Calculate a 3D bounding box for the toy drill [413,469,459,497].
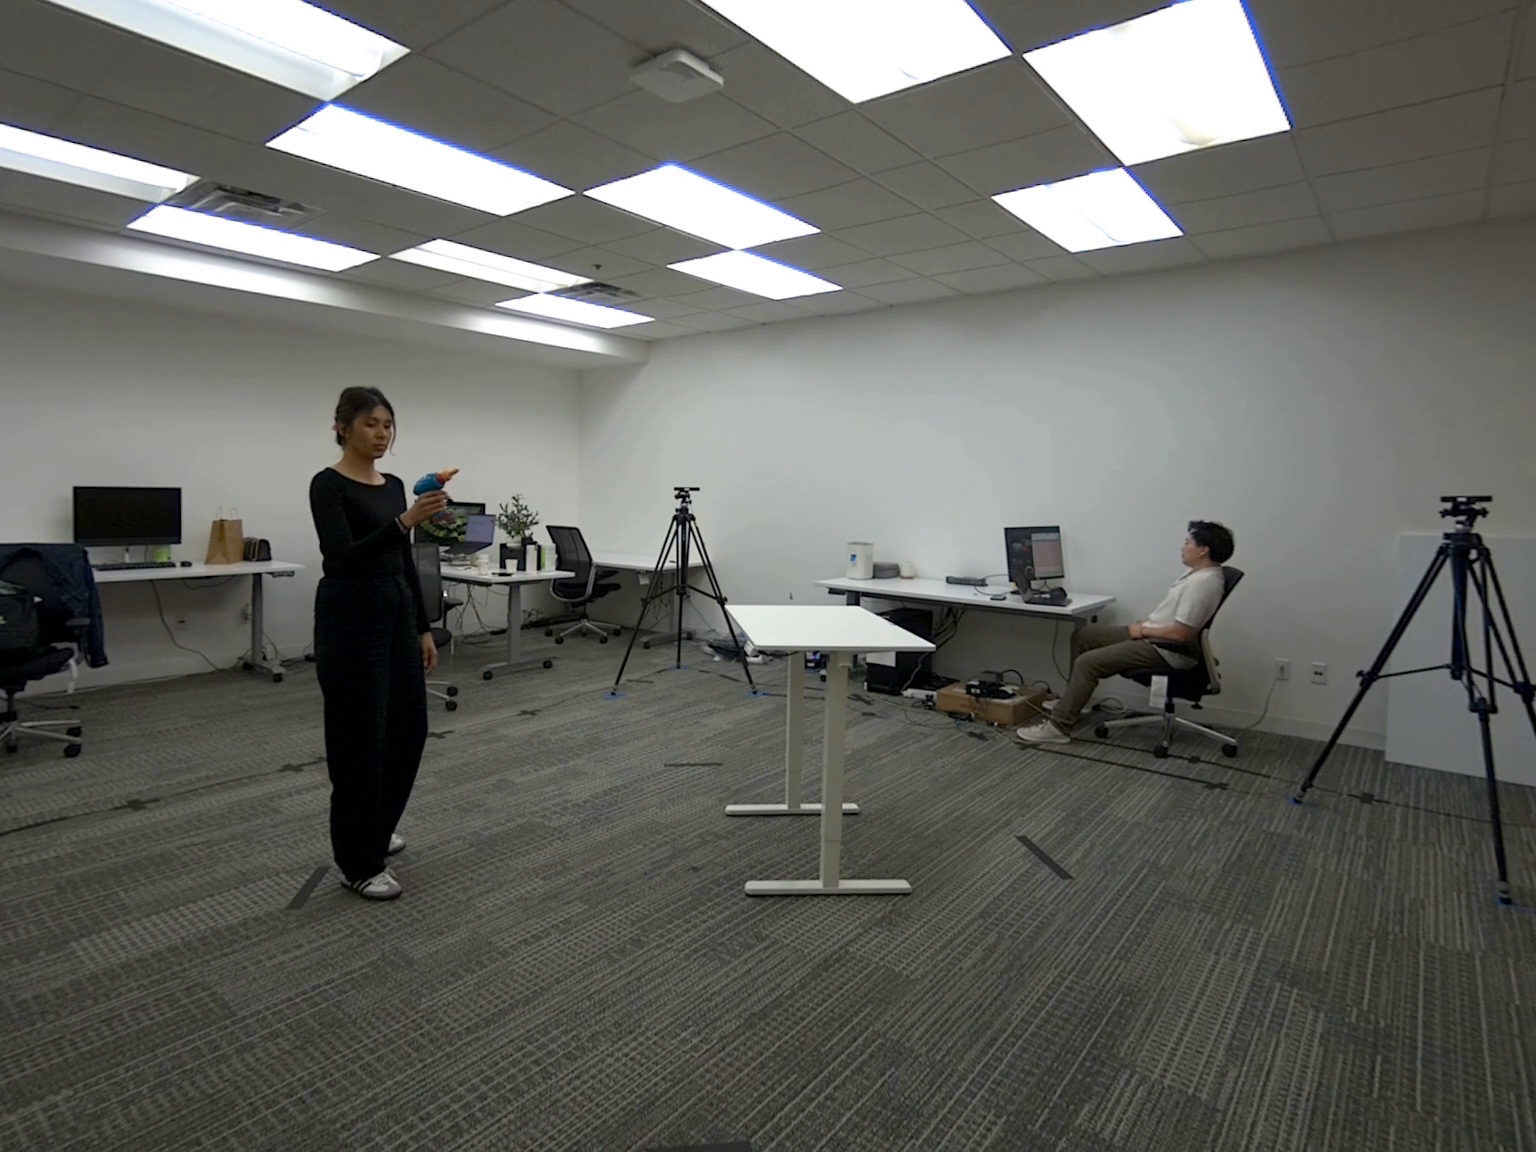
[{"bbox_3d":[-1.022,-0.261,2.635,0.171,0.144,0.062,-26,11,9],"label":"toy drill"}]
